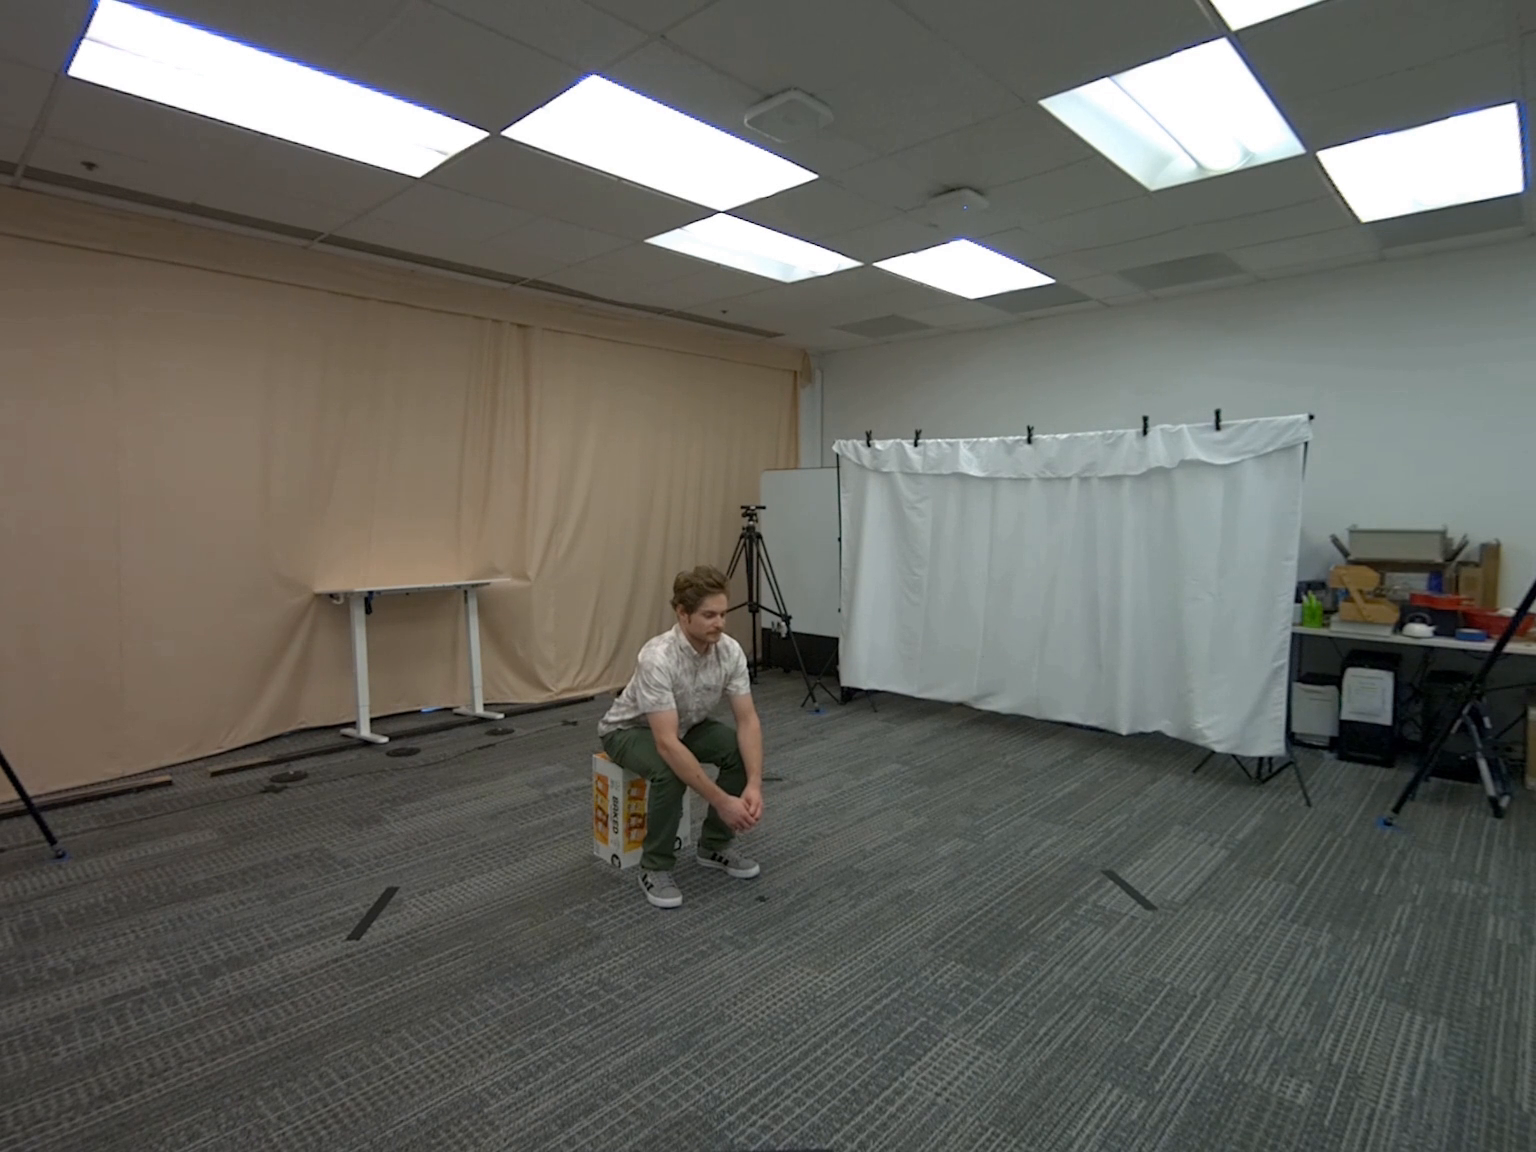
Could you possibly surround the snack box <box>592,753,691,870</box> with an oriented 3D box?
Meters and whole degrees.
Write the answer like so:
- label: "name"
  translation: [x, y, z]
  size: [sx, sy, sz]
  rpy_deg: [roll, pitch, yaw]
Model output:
- label: "snack box"
  translation: [-0.512, 0.912, 3.407]
  size: [0.330, 0.404, 0.213]
  rpy_deg: [-4, 6, -44]
